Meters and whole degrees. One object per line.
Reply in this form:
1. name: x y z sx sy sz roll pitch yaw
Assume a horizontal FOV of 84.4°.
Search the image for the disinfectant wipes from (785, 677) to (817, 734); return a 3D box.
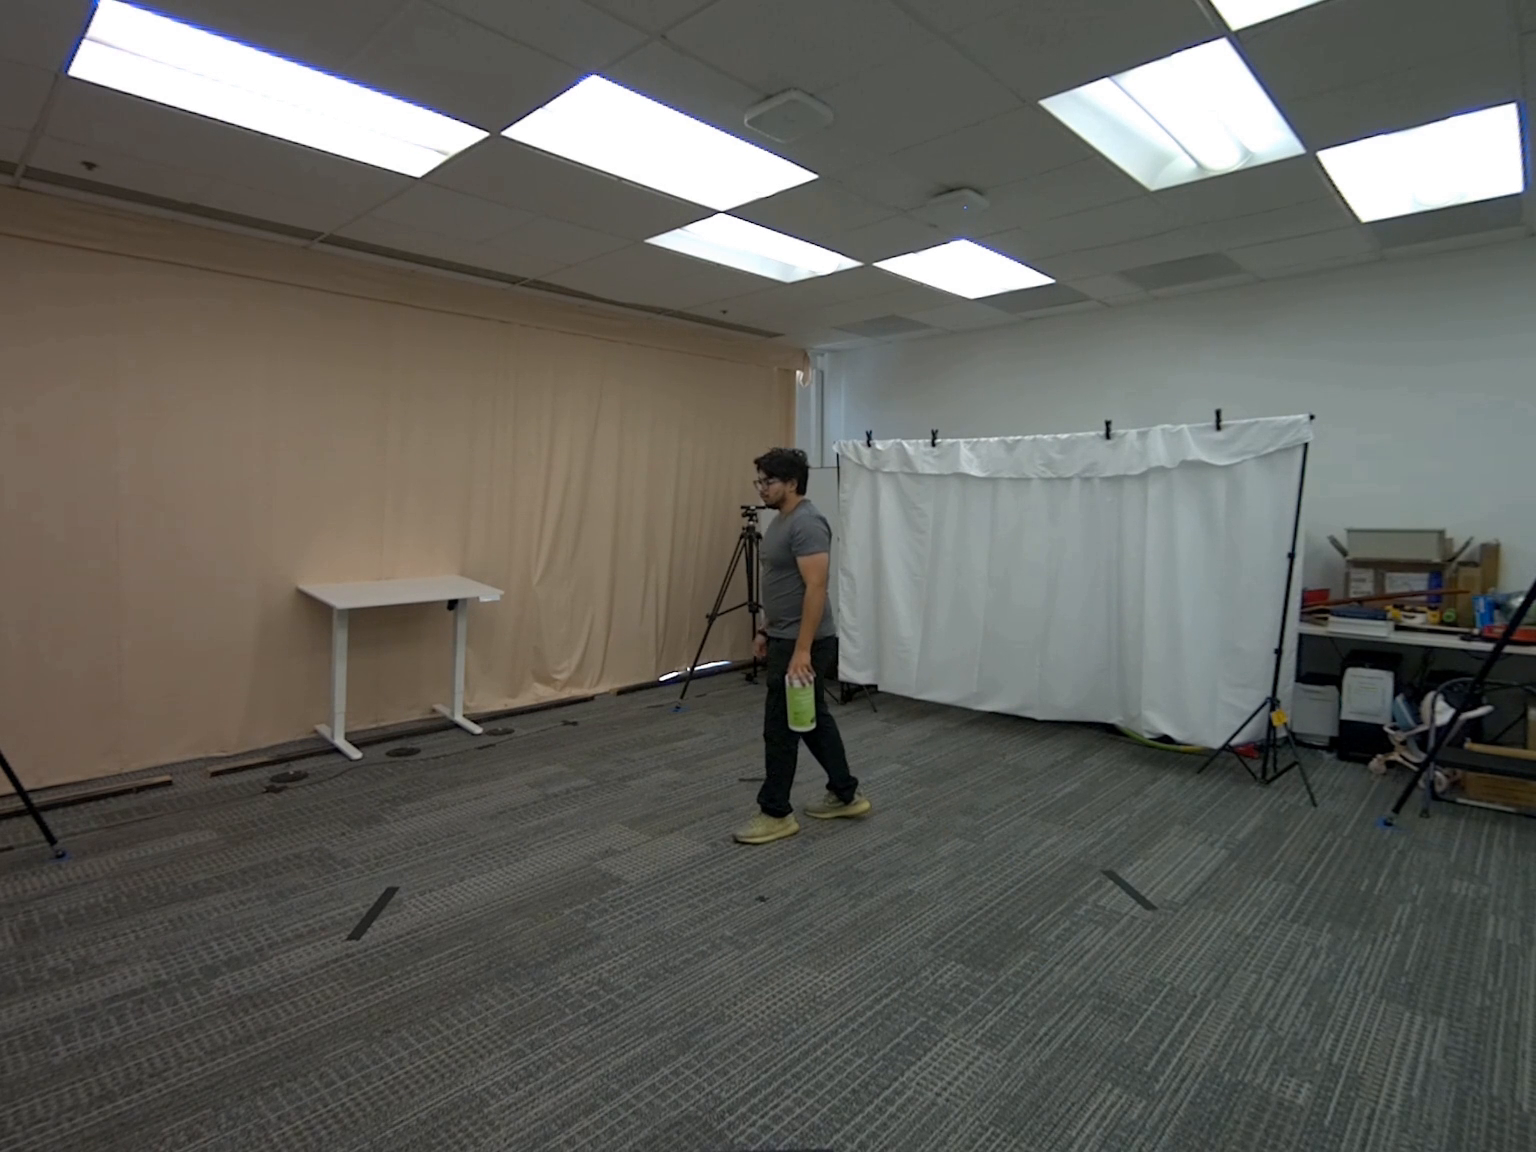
1. disinfectant wipes: 0.120 0.495 3.318 0.118 0.216 0.119 -2 11 -1
